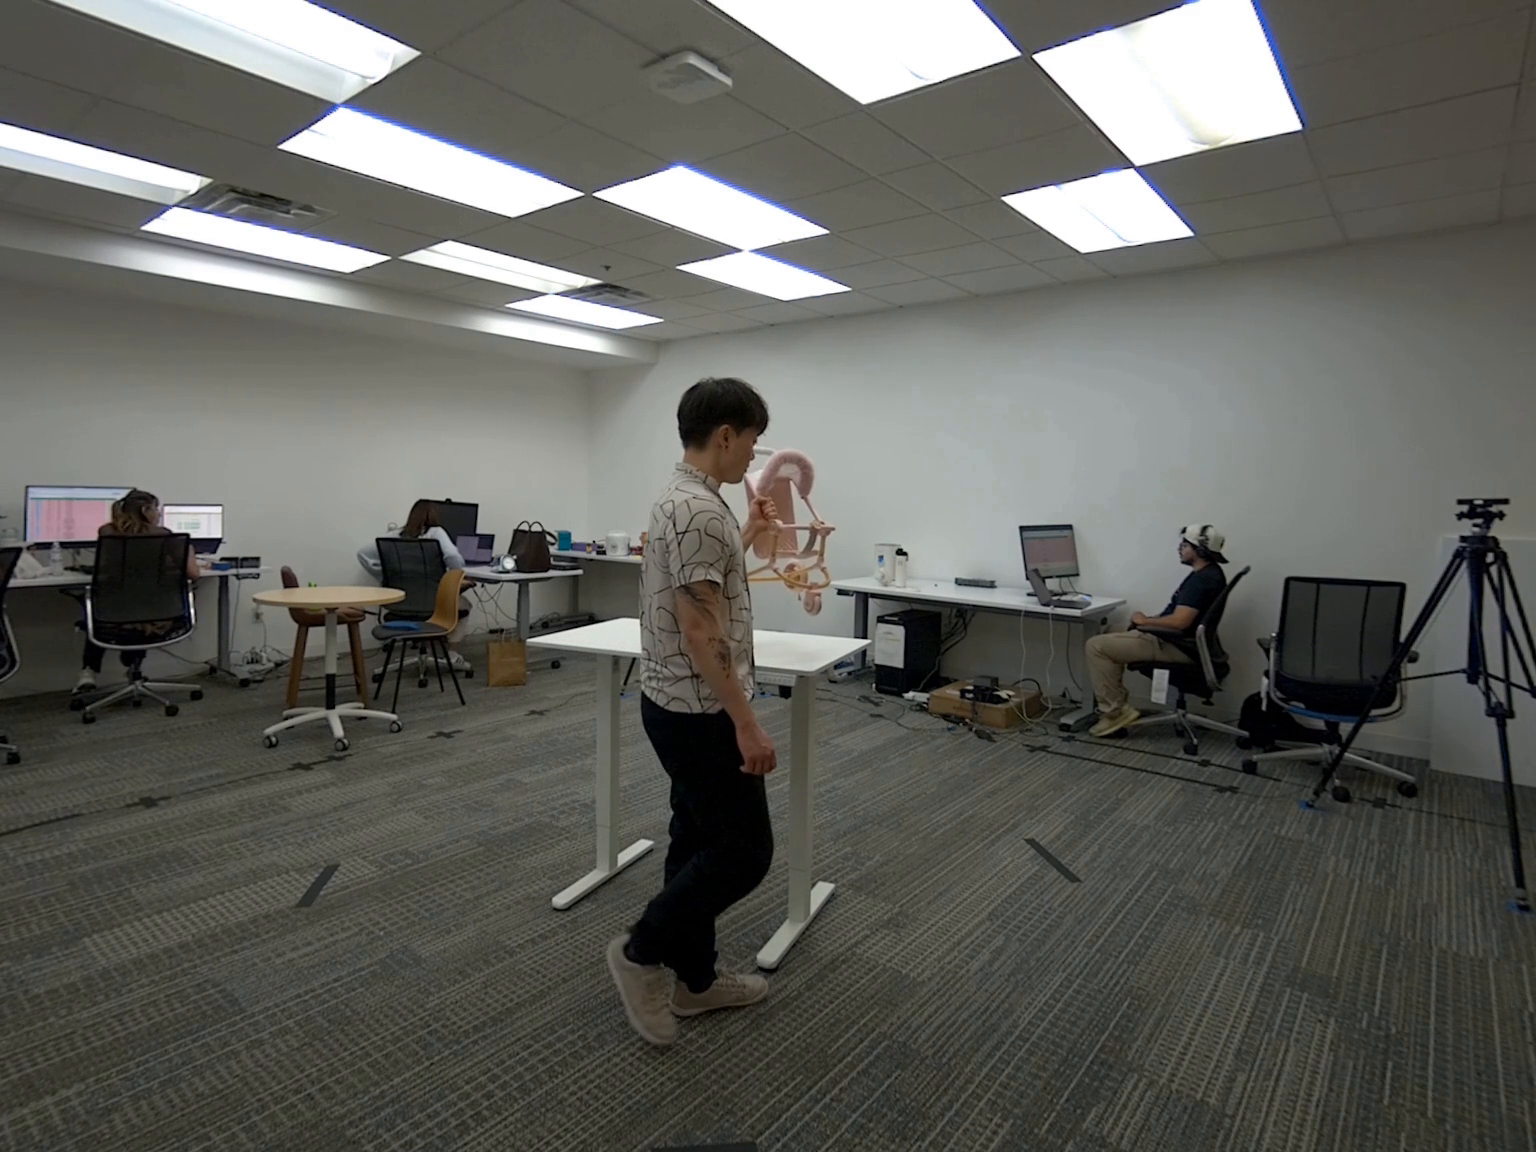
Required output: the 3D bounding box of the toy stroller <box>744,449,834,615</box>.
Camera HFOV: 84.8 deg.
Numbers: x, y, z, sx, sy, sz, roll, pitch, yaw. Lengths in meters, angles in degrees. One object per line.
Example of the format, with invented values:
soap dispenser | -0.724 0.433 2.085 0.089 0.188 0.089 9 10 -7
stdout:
toy stroller | 0.039 -0.150 2.623 0.273 0.536 0.350 2 -3 -32
